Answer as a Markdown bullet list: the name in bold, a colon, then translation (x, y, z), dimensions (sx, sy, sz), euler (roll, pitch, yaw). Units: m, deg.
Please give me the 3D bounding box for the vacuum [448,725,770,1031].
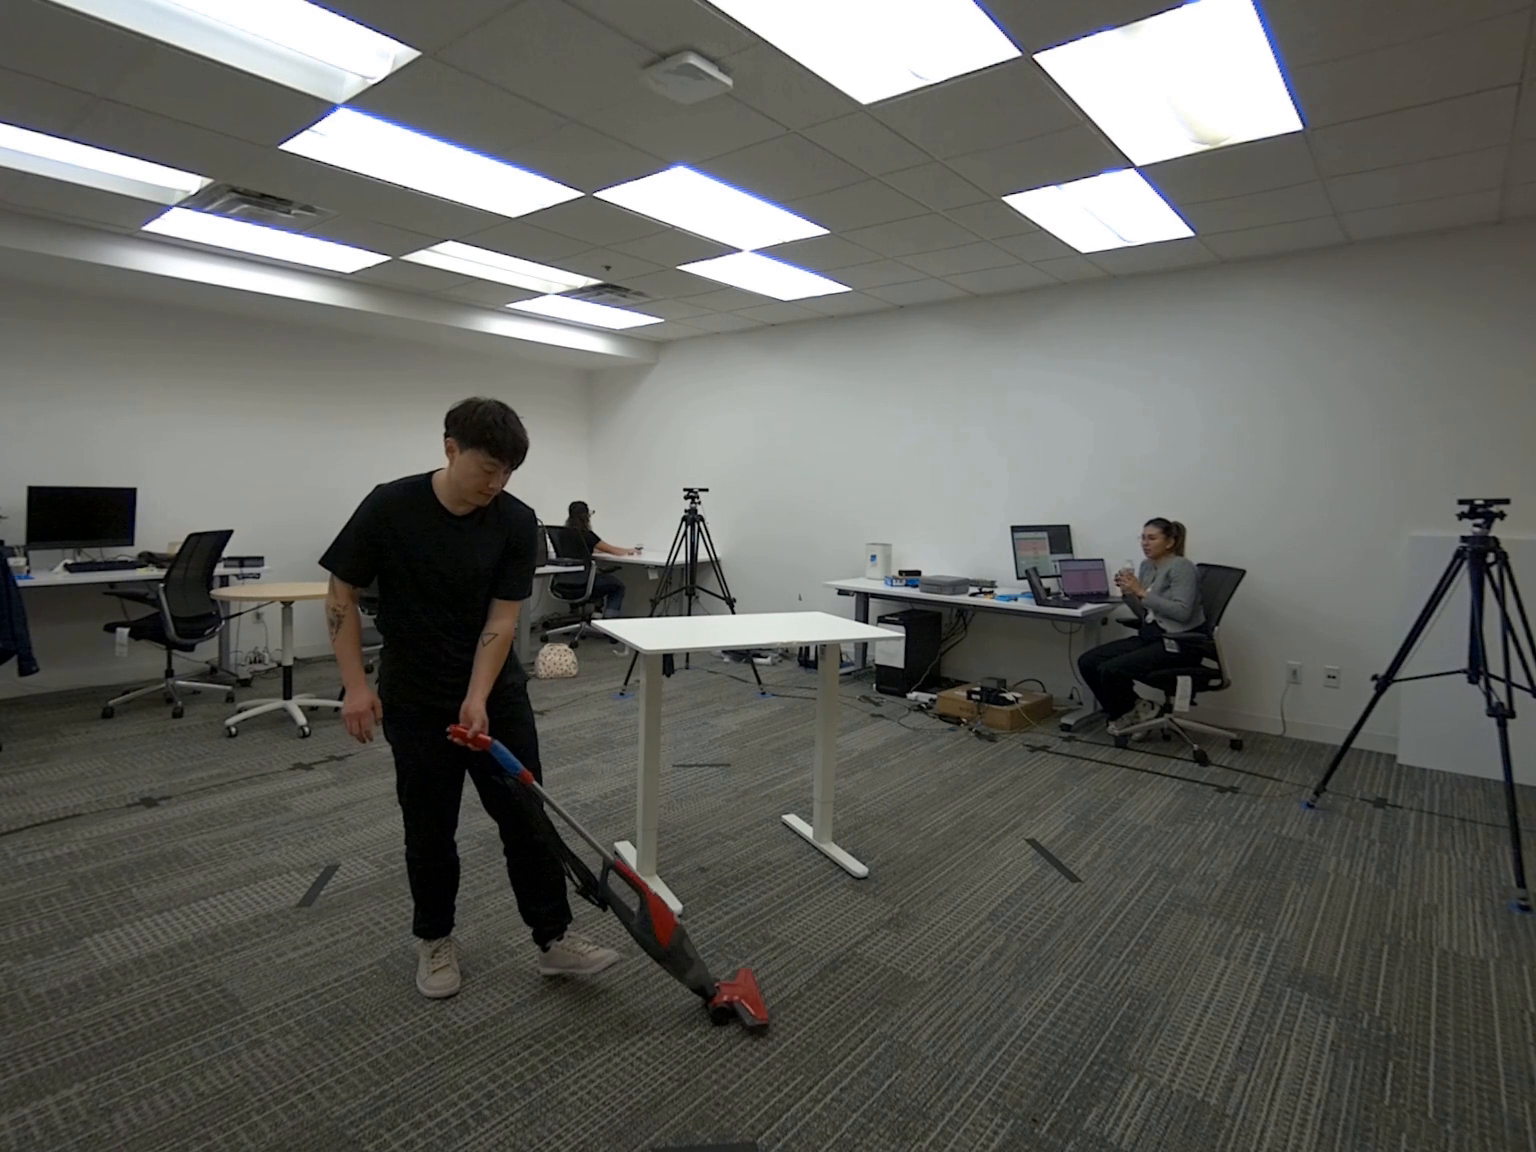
- **vacuum**: translation (-0.433, 0.772, 2.191), dimensions (0.144, 1.036, 0.256), euler (-44, 9, -5)
